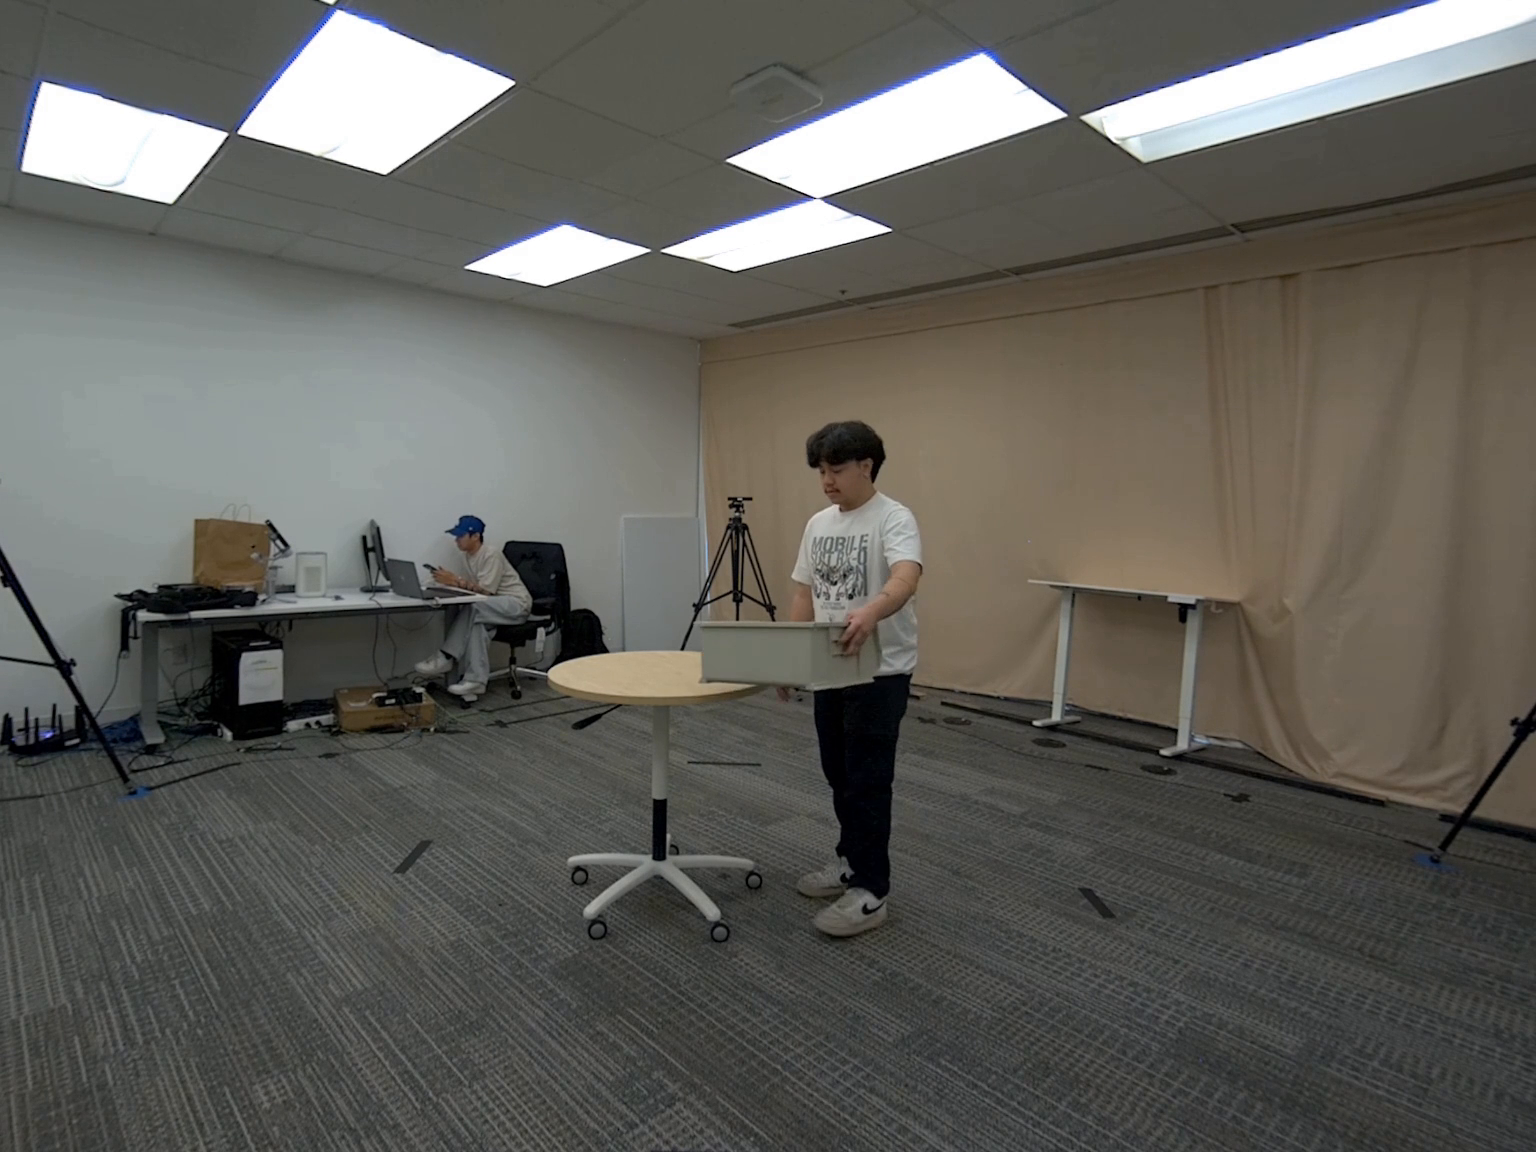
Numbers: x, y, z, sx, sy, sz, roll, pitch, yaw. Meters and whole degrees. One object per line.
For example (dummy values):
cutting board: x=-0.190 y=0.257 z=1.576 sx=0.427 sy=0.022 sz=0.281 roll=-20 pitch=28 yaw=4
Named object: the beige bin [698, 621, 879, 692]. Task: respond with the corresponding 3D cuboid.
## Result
beige bin: x=0.056 y=0.227 z=2.492 sx=0.431 sy=0.189 sz=0.368 roll=-2 pitch=-2 yaw=37
